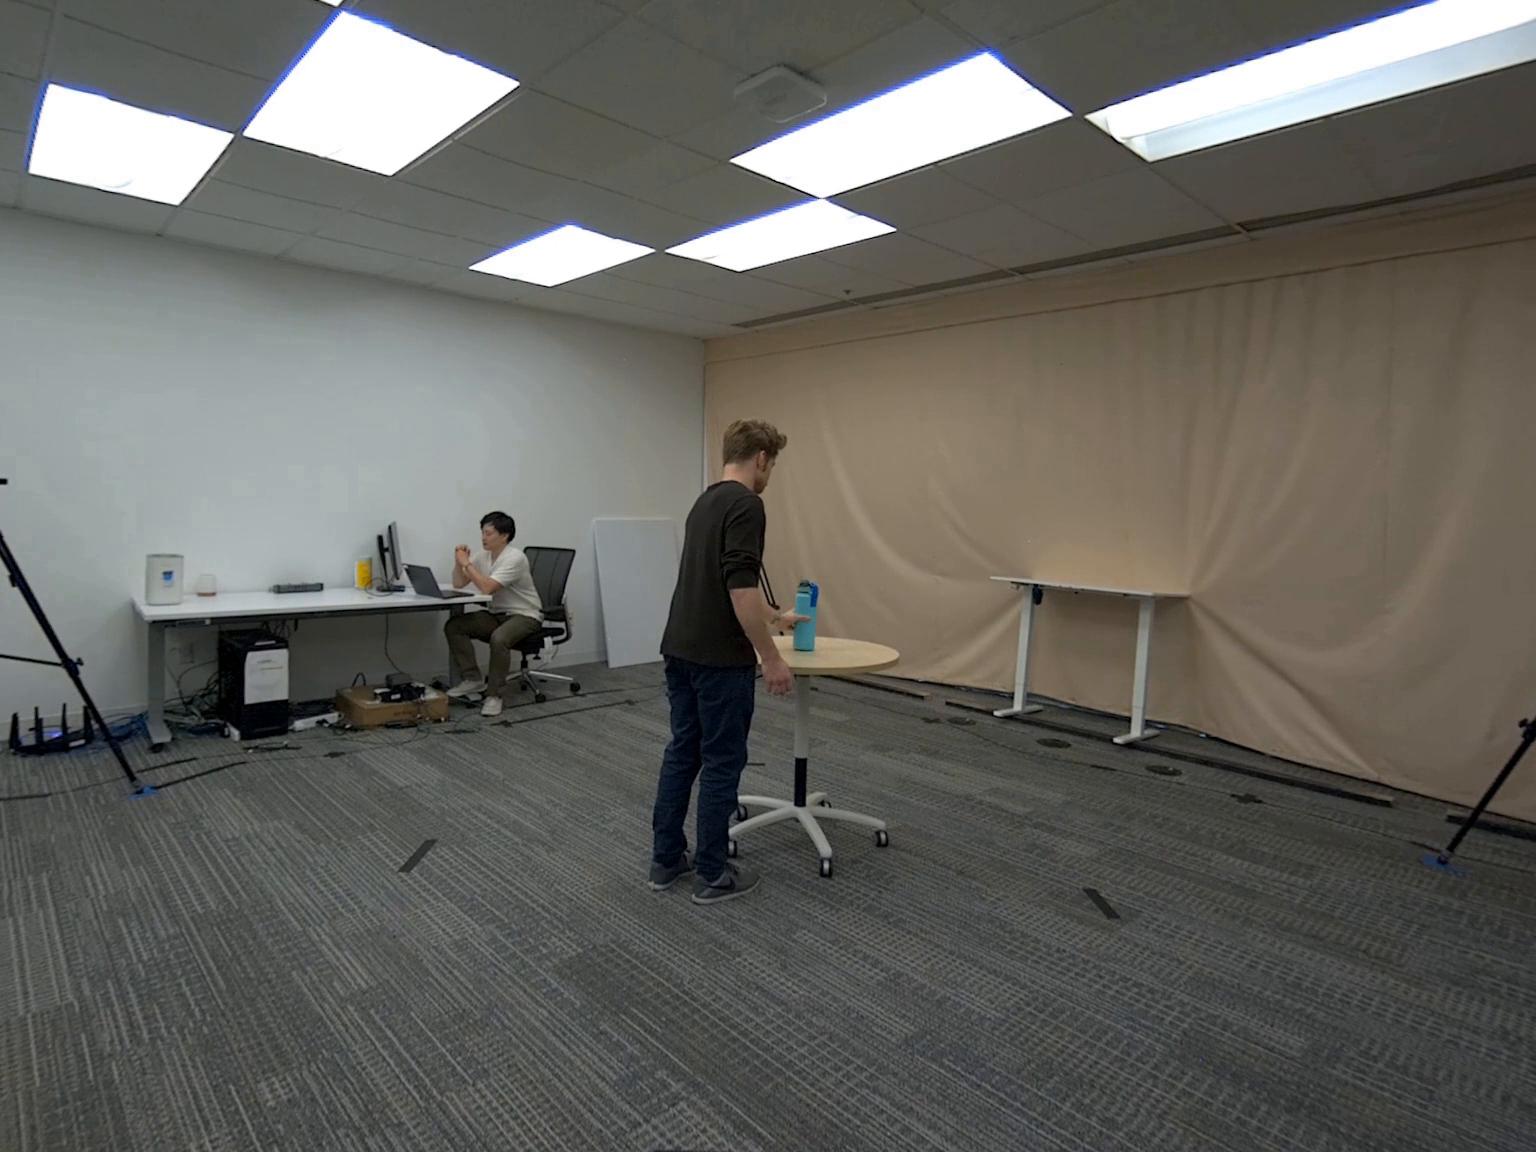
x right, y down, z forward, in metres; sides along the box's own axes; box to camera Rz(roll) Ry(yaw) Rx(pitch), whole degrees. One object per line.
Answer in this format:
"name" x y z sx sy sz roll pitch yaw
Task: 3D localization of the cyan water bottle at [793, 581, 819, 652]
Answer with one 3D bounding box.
"cyan water bottle" 0.150 0.159 3.454 0.092 0.283 0.092 5 -1 -1
